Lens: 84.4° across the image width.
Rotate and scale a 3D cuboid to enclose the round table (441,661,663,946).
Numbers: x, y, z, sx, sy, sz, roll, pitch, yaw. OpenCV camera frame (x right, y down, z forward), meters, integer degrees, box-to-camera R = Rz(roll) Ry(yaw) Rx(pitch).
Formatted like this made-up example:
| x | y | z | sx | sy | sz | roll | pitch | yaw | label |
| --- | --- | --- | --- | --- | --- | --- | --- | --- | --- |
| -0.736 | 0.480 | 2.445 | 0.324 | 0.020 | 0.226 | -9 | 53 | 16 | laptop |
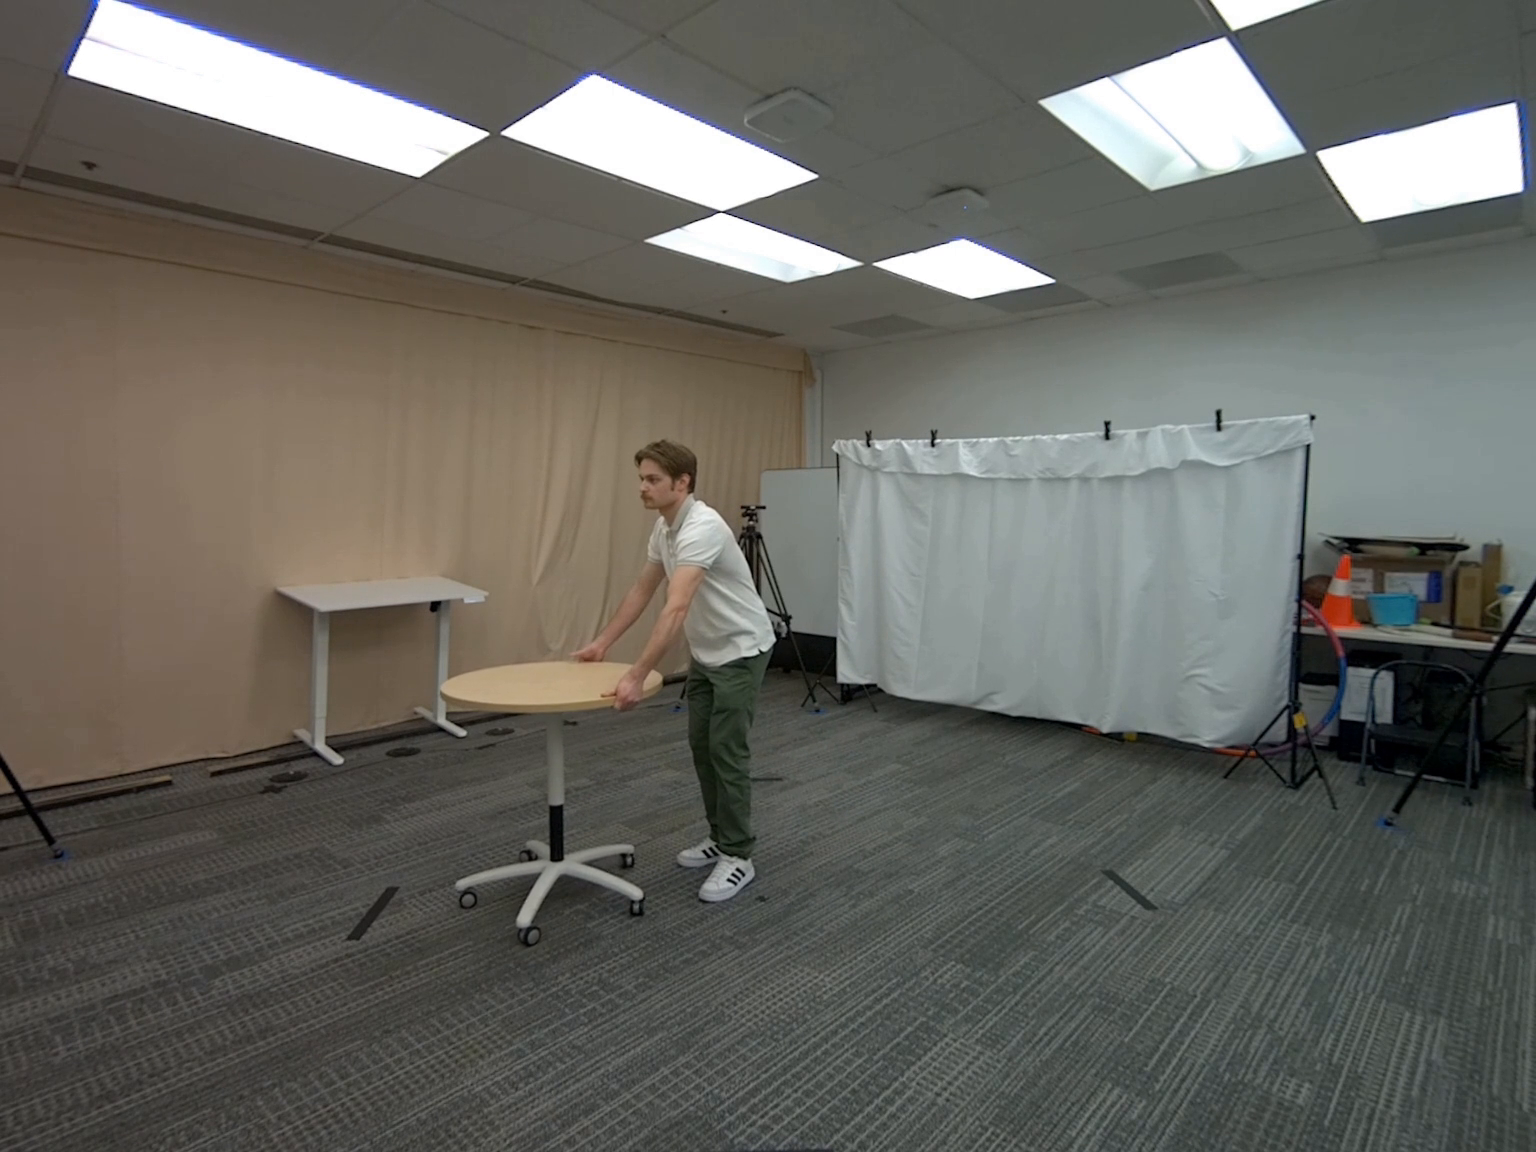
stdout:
| x | y | z | sx | sy | sz | roll | pitch | yaw | label |
| --- | --- | --- | --- | --- | --- | --- | --- | --- | --- |
| -0.750 | 0.760 | 2.986 | 0.763 | 0.792 | 0.766 | -1 | 3 | -2 | round table |
